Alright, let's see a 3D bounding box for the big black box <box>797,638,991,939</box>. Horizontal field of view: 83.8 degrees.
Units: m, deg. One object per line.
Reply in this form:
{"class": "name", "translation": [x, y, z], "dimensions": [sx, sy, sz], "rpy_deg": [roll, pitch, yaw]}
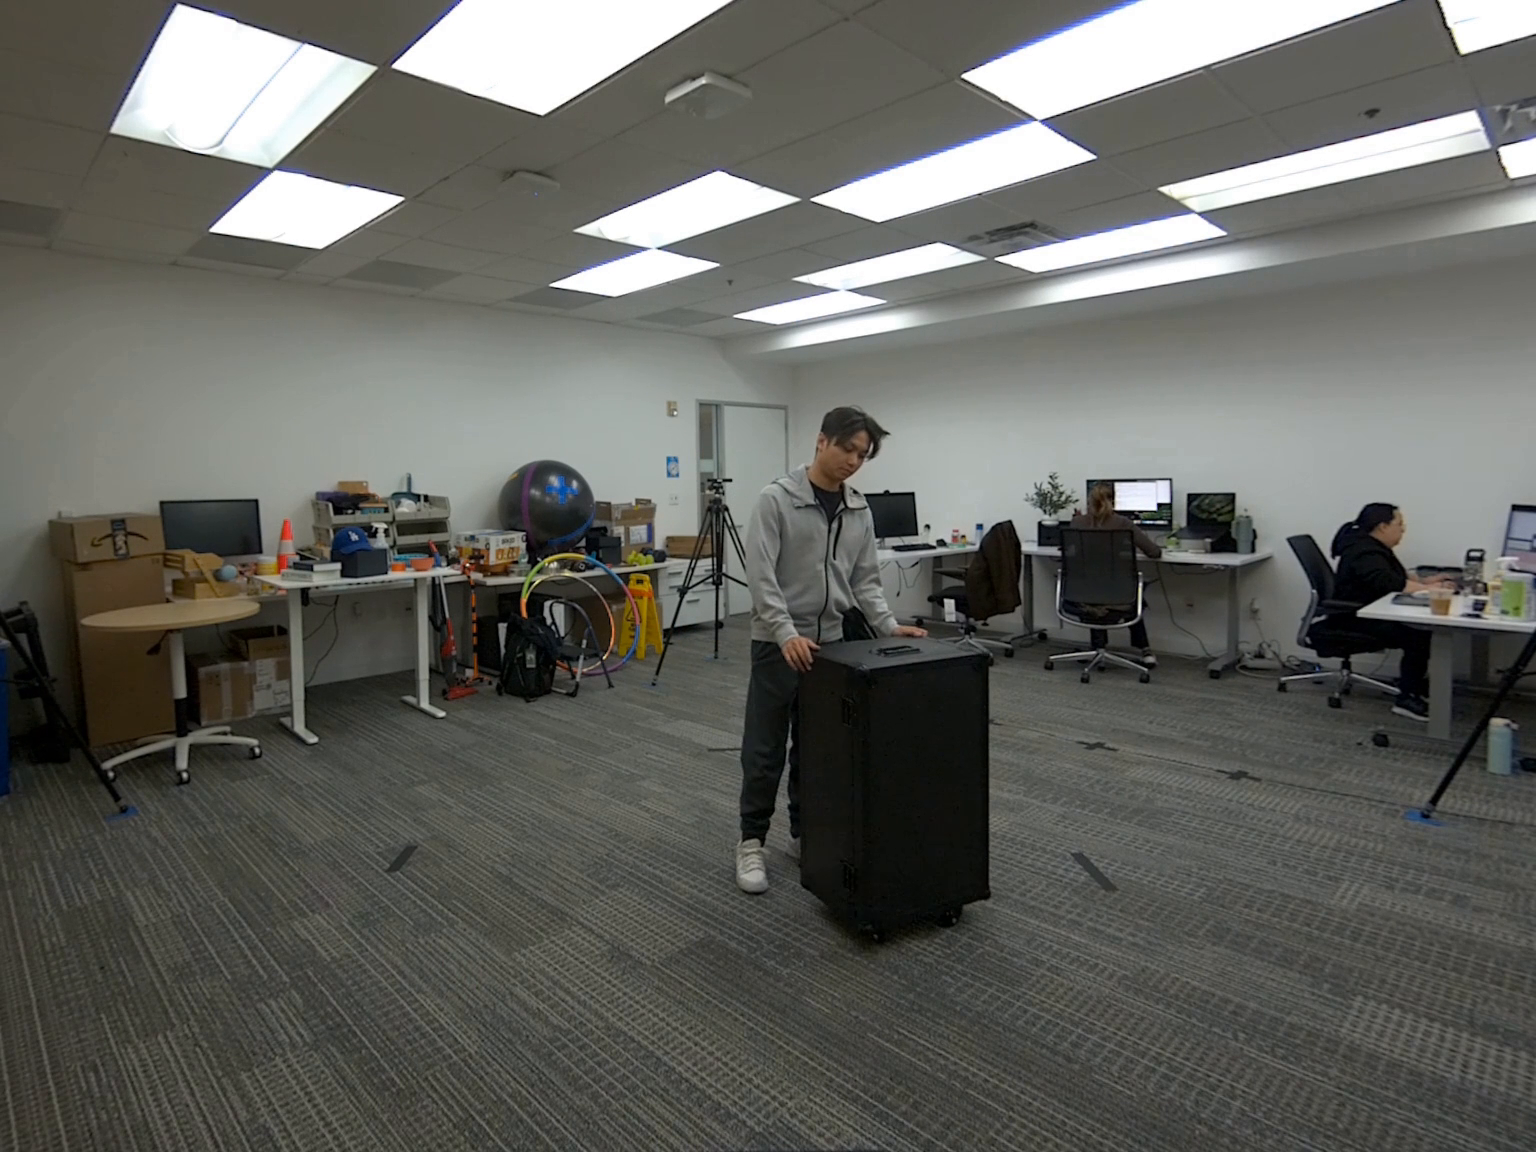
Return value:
{"class": "big black box", "translation": [0.399, 0.598, 2.709], "dimensions": [0.509, 0.858, 0.407], "rpy_deg": [-3, 4, -29]}
